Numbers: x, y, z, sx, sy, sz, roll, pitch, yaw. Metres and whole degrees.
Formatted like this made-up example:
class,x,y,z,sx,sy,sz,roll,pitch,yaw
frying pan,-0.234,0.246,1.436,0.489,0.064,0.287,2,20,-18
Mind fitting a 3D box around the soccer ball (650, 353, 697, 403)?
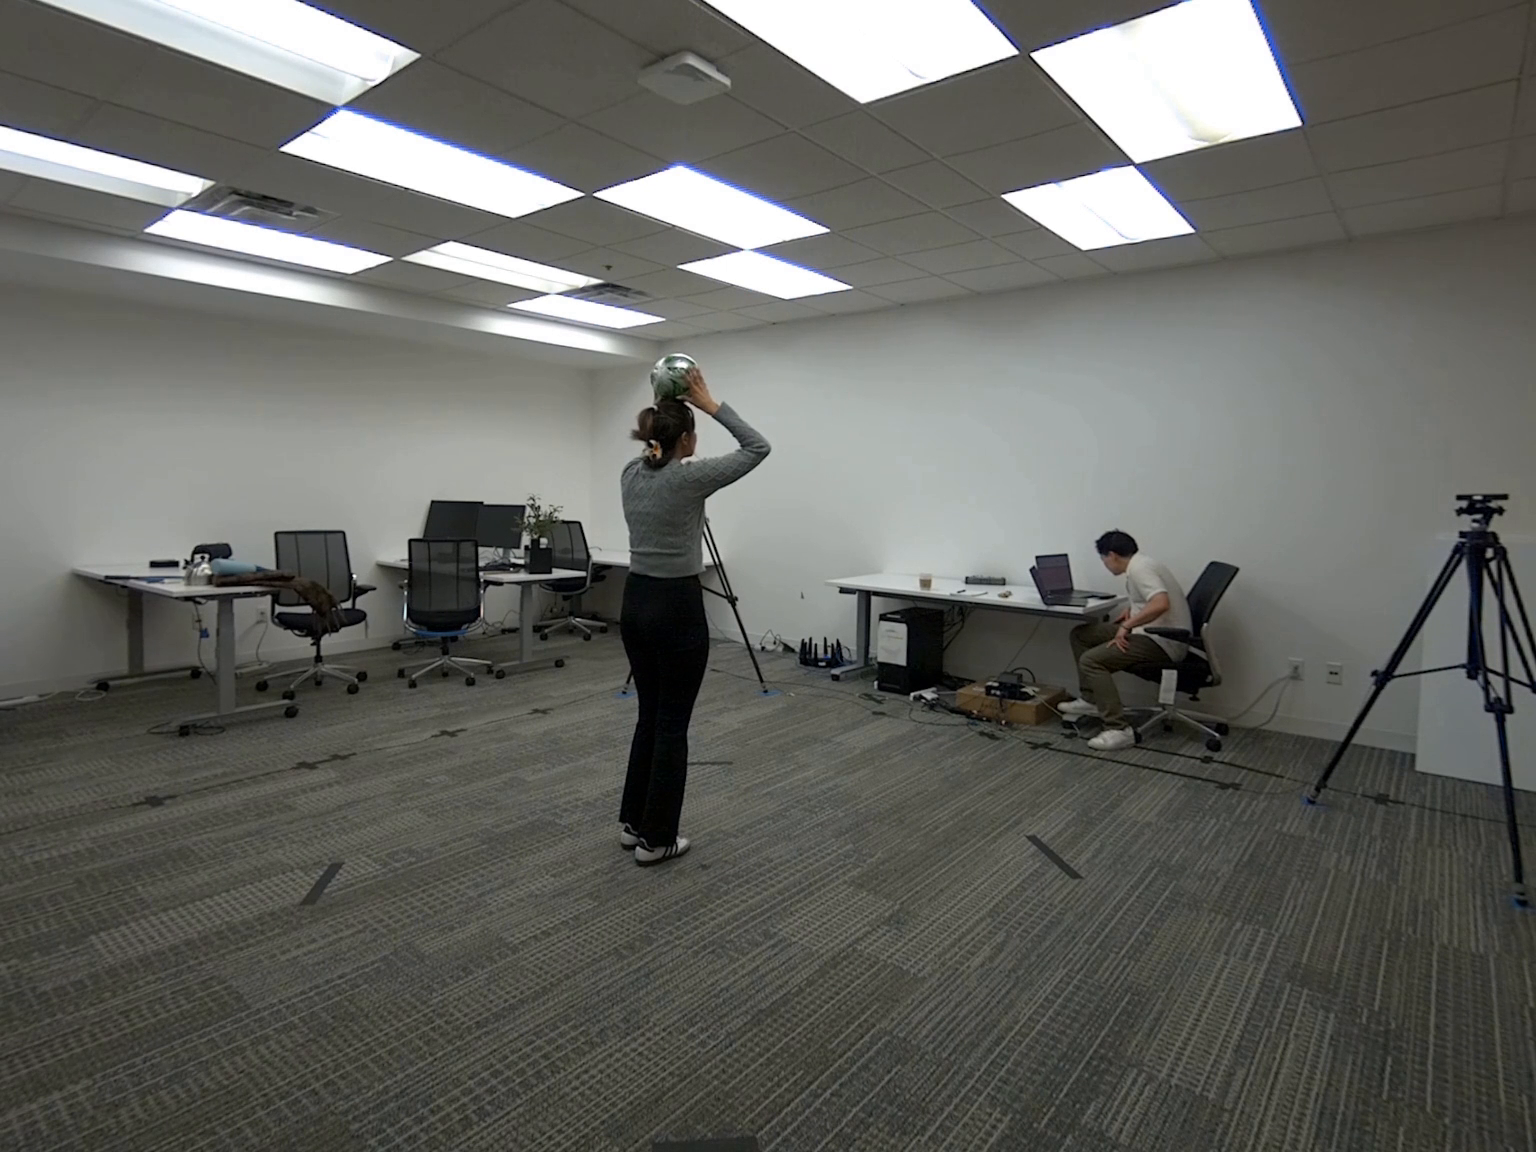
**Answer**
class,x,y,z,sx,sy,sz,roll,pitch,yaw
soccer ball,-0.358,-0.751,3.223,0.187,0.187,0.188,1,4,-2
